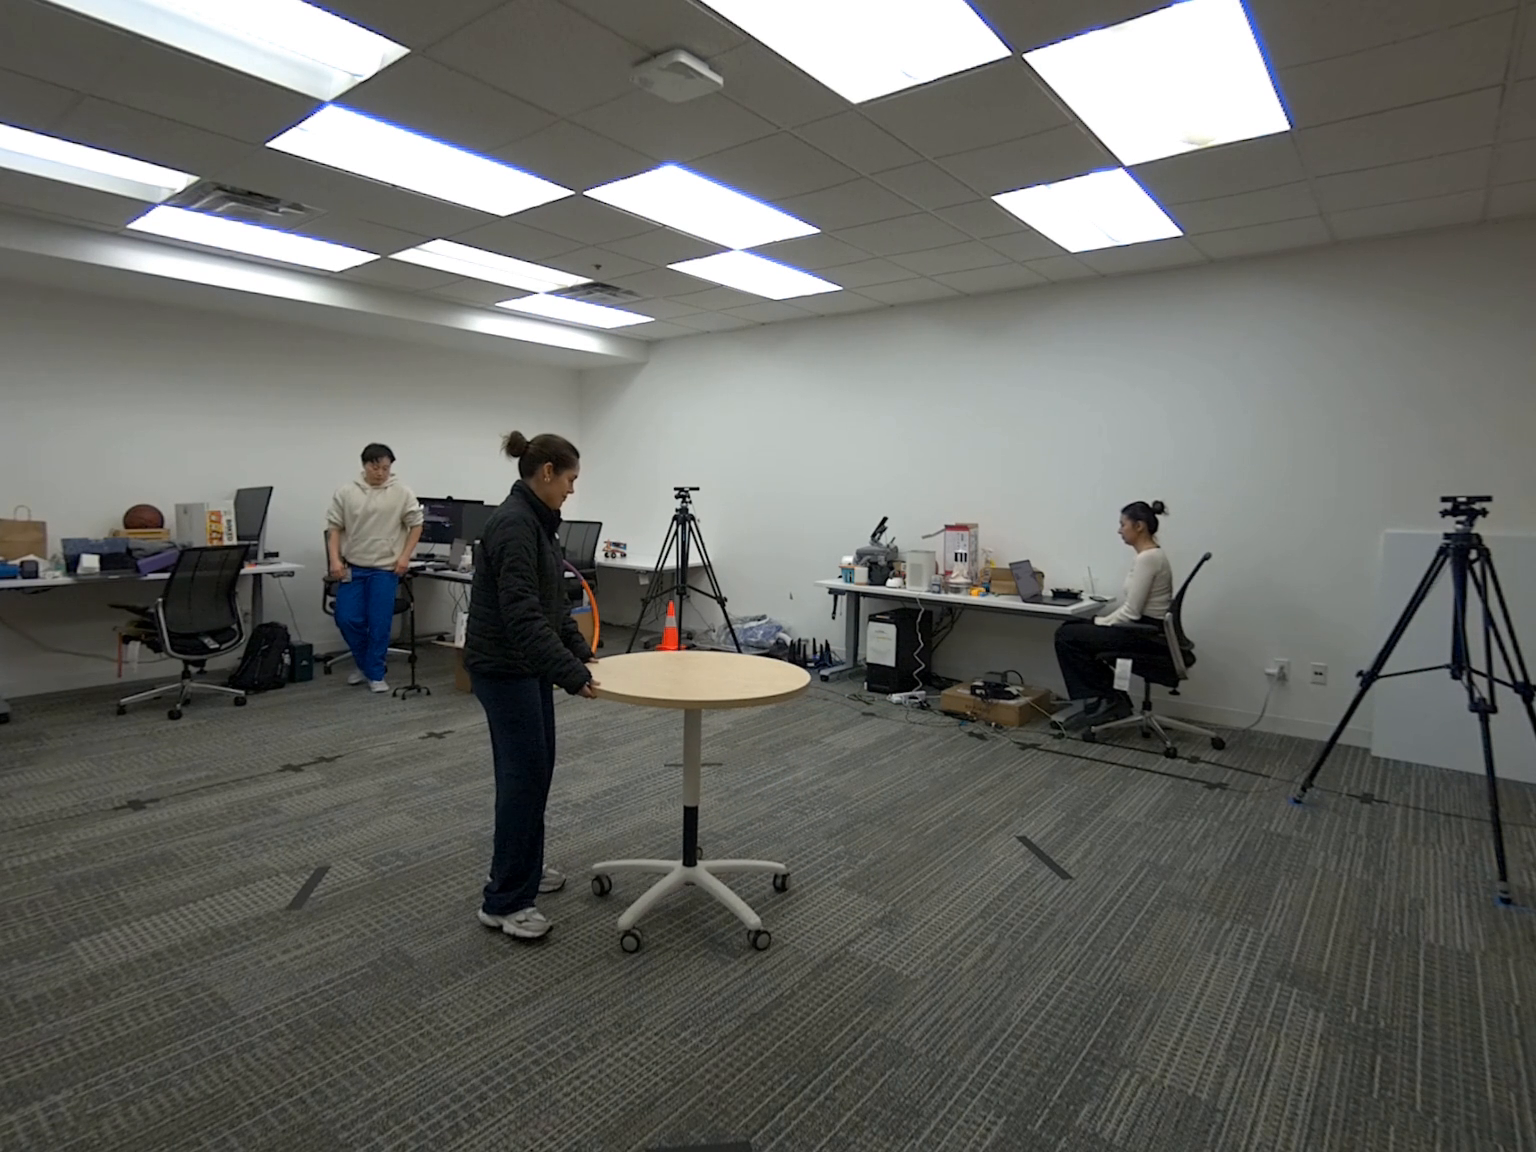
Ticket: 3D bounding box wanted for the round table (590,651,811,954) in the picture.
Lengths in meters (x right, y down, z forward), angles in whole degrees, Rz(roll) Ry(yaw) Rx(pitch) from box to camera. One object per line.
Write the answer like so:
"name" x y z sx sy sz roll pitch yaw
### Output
"round table" -0.248 0.703 2.830 0.784 0.784 0.789 1 4 -2
